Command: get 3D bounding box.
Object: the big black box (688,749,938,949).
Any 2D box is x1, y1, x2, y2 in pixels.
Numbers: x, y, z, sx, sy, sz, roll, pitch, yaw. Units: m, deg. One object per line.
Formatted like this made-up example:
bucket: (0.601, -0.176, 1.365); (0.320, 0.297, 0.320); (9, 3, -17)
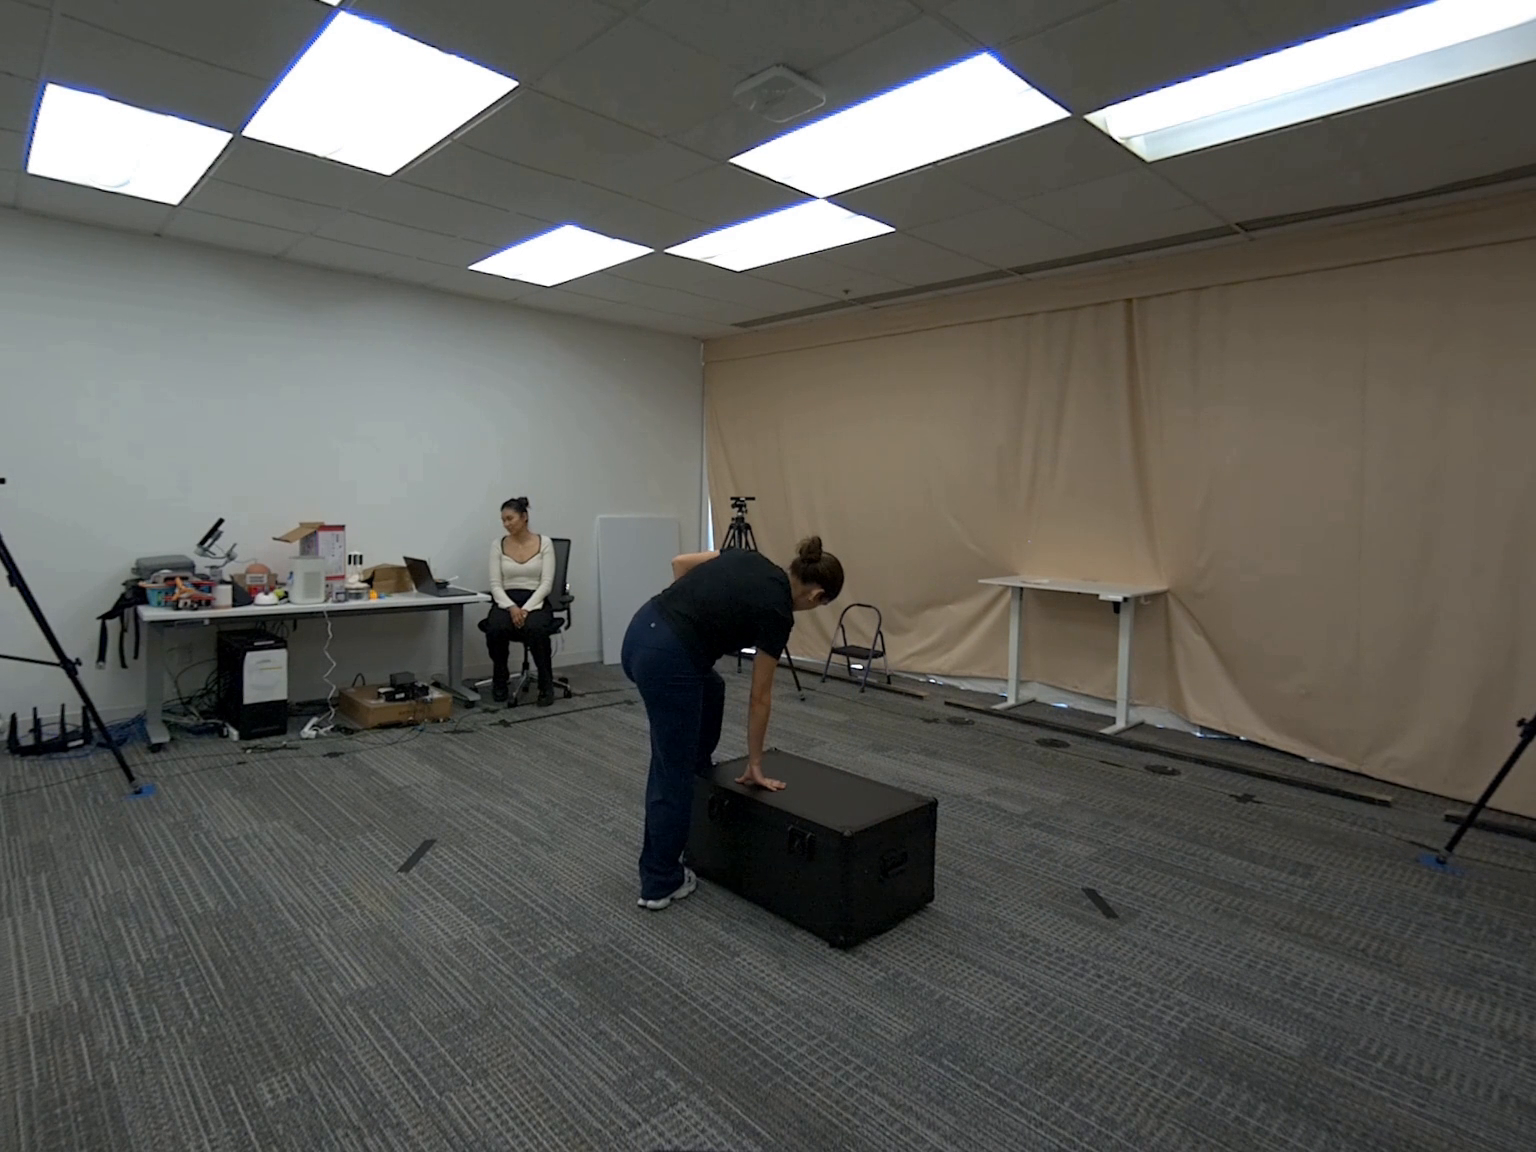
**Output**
big black box: (0.104, 0.915, 3.013); (0.509, 0.395, 0.883); (-3, 6, -45)
